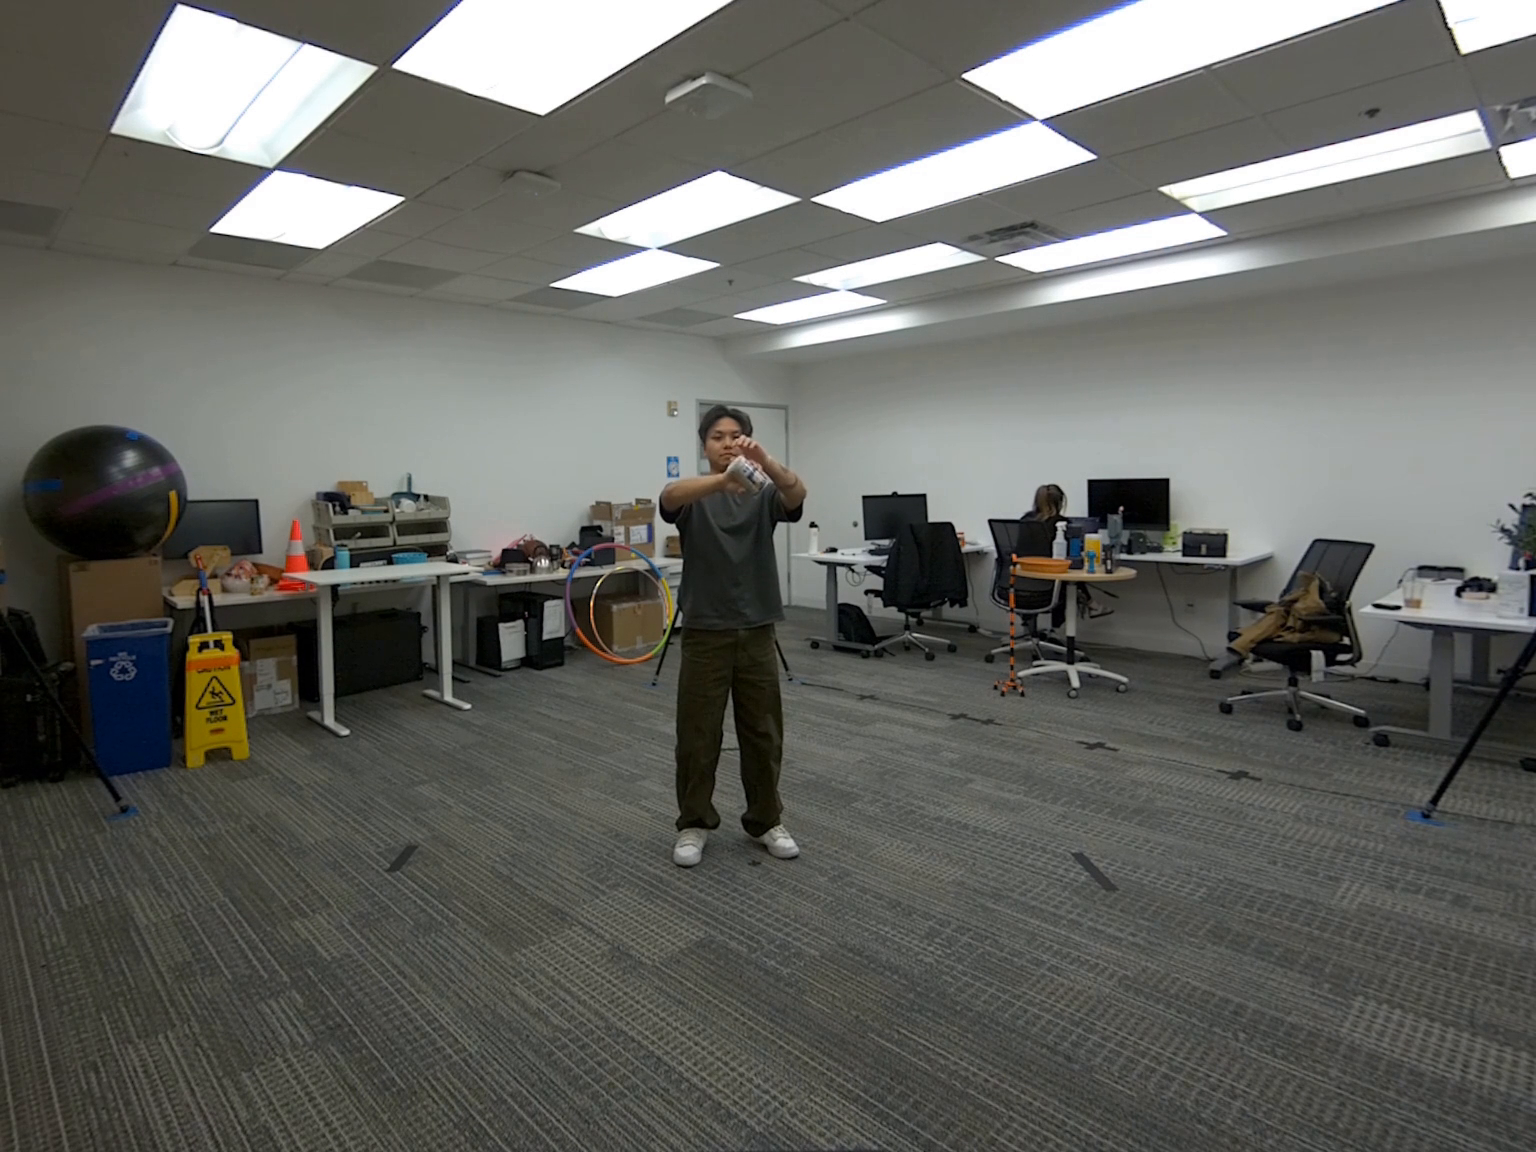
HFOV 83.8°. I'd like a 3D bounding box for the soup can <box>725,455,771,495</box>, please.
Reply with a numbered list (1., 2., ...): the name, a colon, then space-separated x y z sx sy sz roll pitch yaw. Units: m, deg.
1. soup can: -0.070 -0.310 2.673 0.067 0.120 0.068 -38 12 8
